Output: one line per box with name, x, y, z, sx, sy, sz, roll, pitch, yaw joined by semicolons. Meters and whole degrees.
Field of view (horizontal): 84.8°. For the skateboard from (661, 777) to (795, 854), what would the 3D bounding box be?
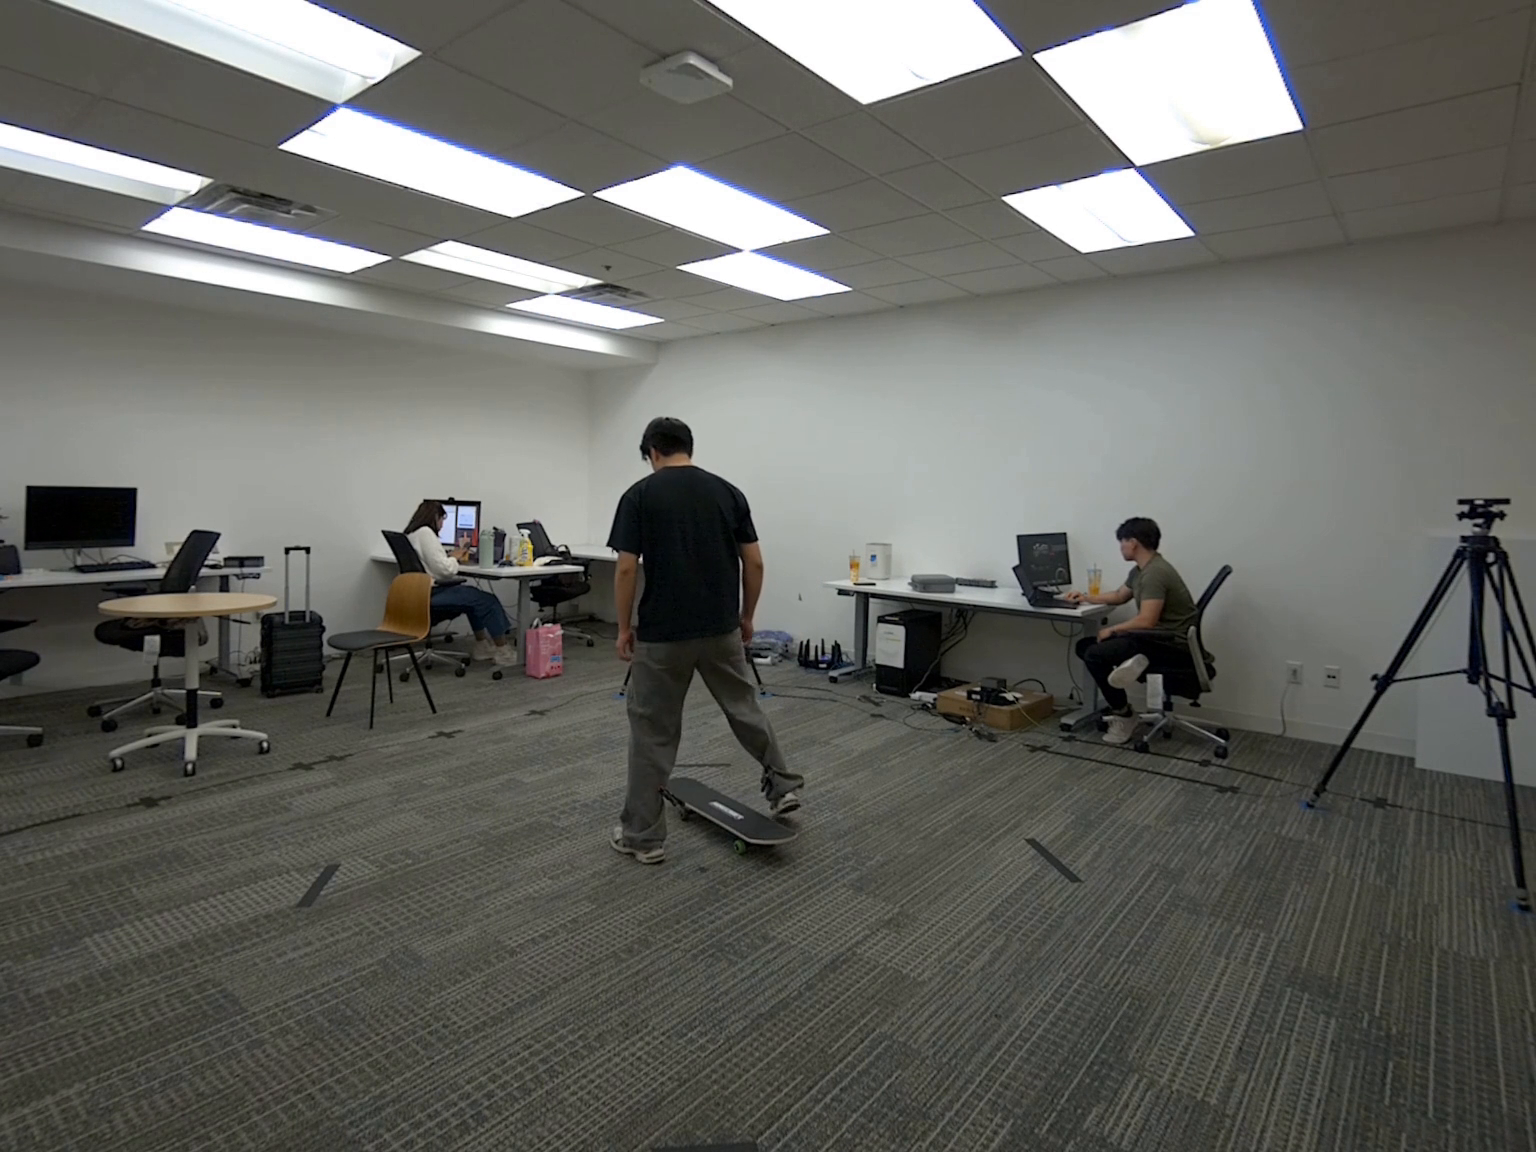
skateboard;-0.179;0.977;3.452;0.188;0.110;0.812;-1;6;-37
